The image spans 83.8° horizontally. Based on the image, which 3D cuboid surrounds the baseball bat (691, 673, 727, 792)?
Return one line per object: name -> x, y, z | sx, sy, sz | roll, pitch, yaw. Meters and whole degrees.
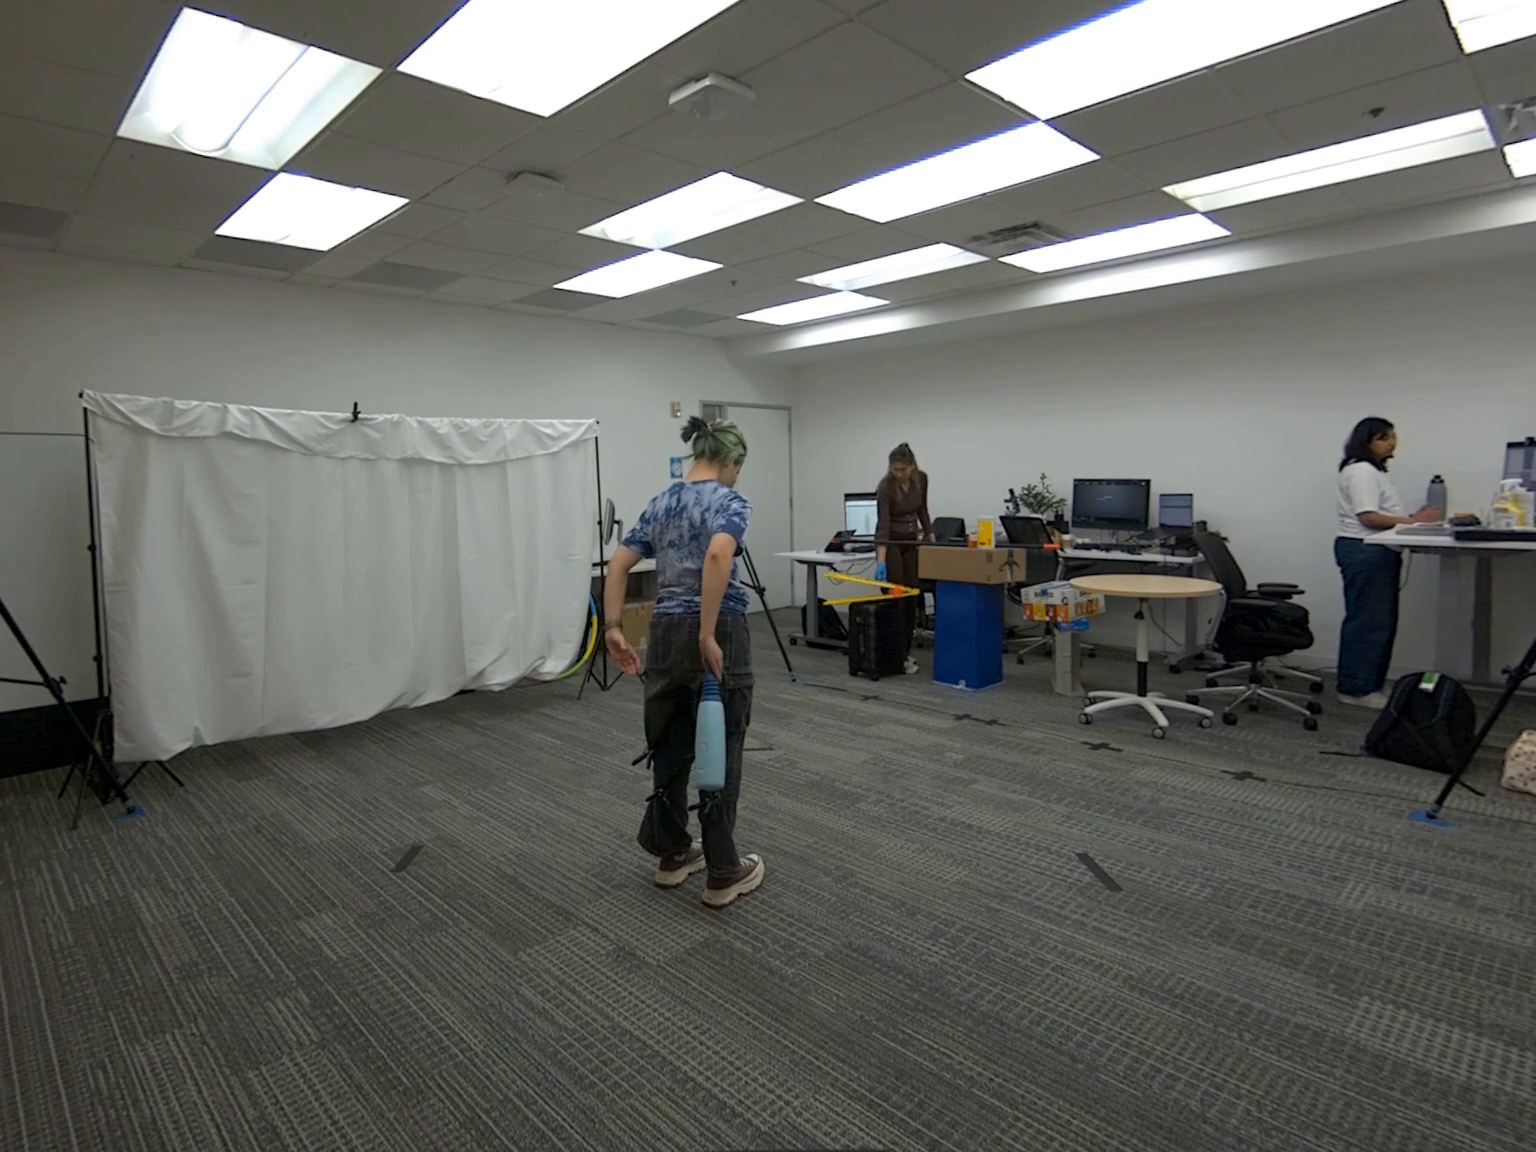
baseball bat -> -0.169, 0.371, 2.588 | 0.089, 0.554, 0.087 | 0, -23, -2
